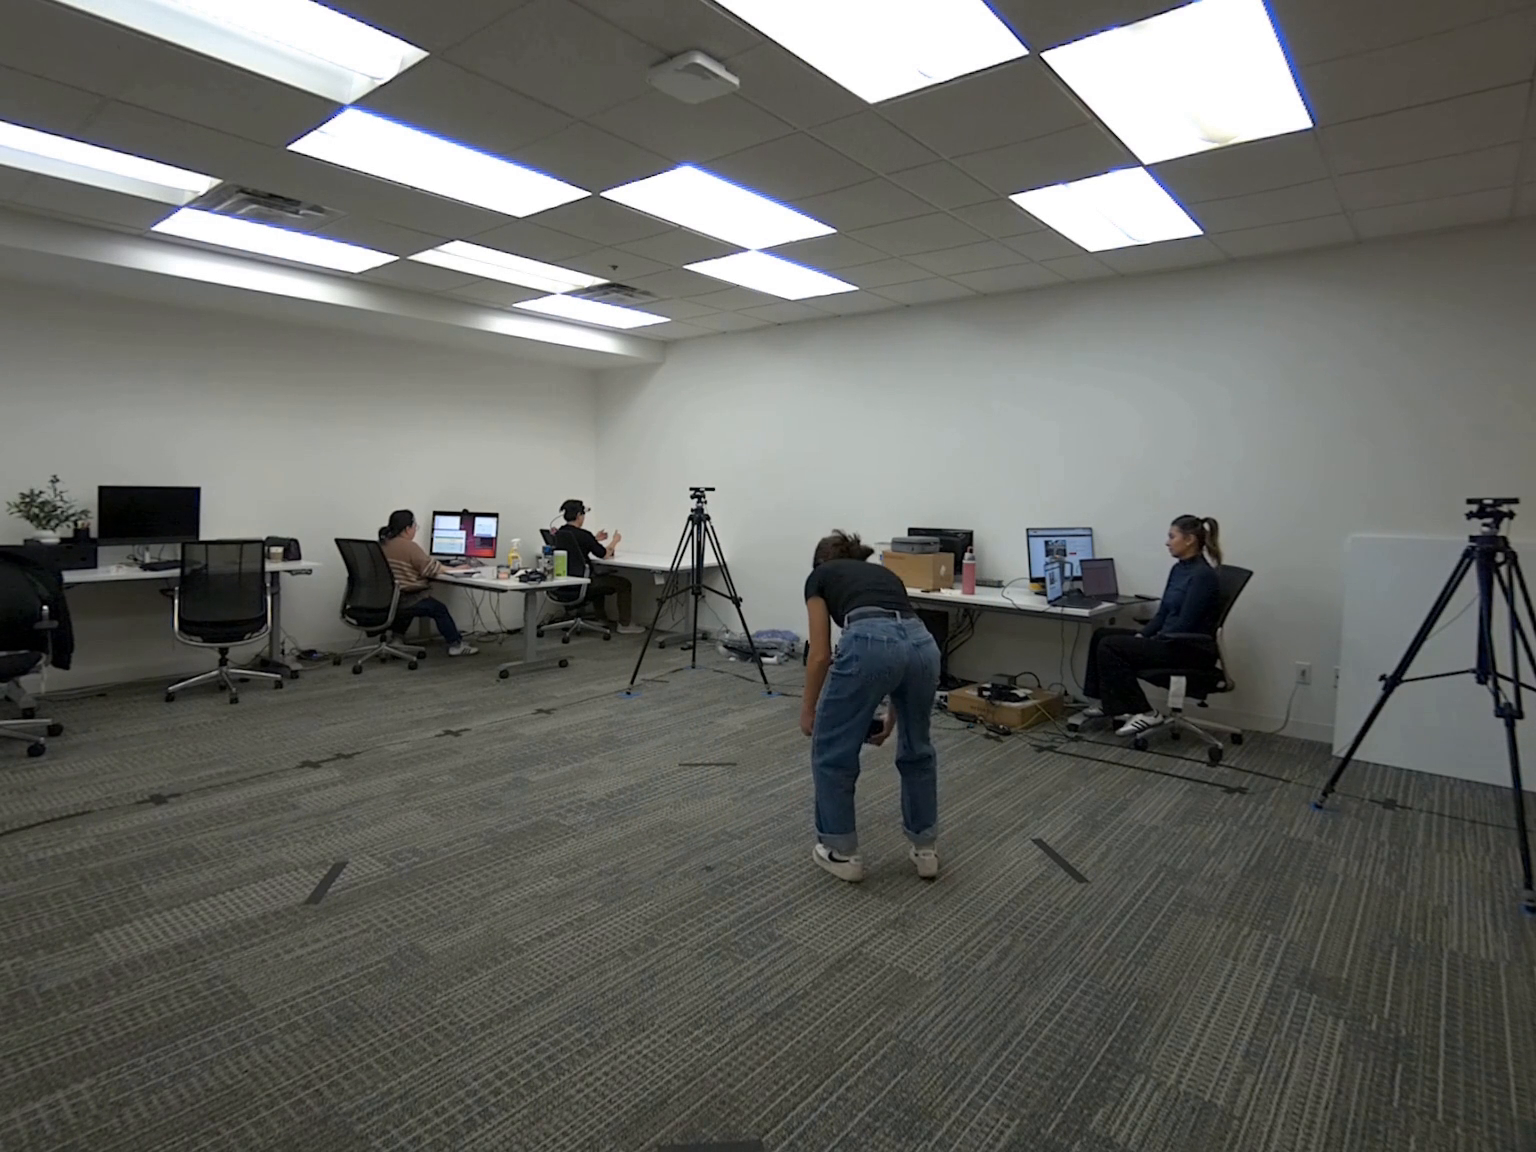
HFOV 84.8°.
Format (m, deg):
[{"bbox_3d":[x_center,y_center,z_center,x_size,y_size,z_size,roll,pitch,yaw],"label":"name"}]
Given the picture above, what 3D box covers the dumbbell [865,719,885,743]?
[{"bbox_3d":[0.283,0.581,3.290,0.288,0.108,0.126,12,12,-14],"label":"dumbbell"}]
